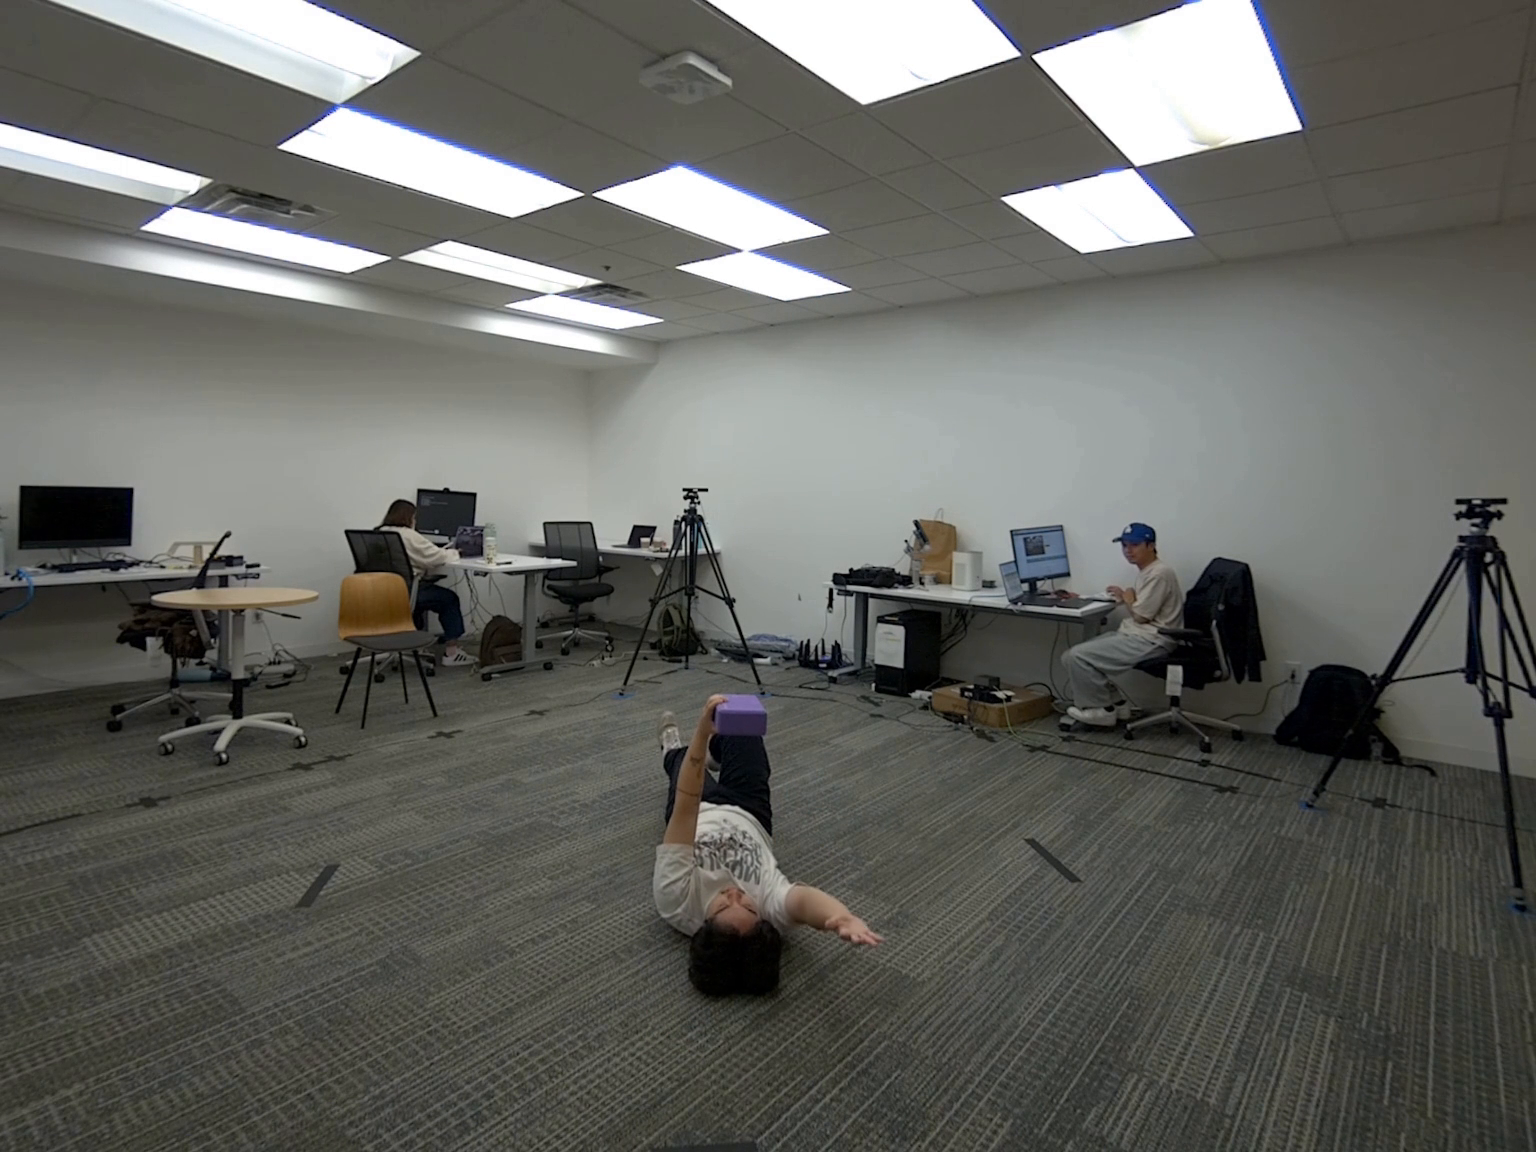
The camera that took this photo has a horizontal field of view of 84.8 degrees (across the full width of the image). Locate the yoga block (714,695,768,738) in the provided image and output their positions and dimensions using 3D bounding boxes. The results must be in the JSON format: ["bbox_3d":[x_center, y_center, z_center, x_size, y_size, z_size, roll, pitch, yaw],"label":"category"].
[{"bbox_3d":[-0.102,0.426,2.627,0.148,0.076,0.231,2,2,-8],"label":"yoga block"}]
